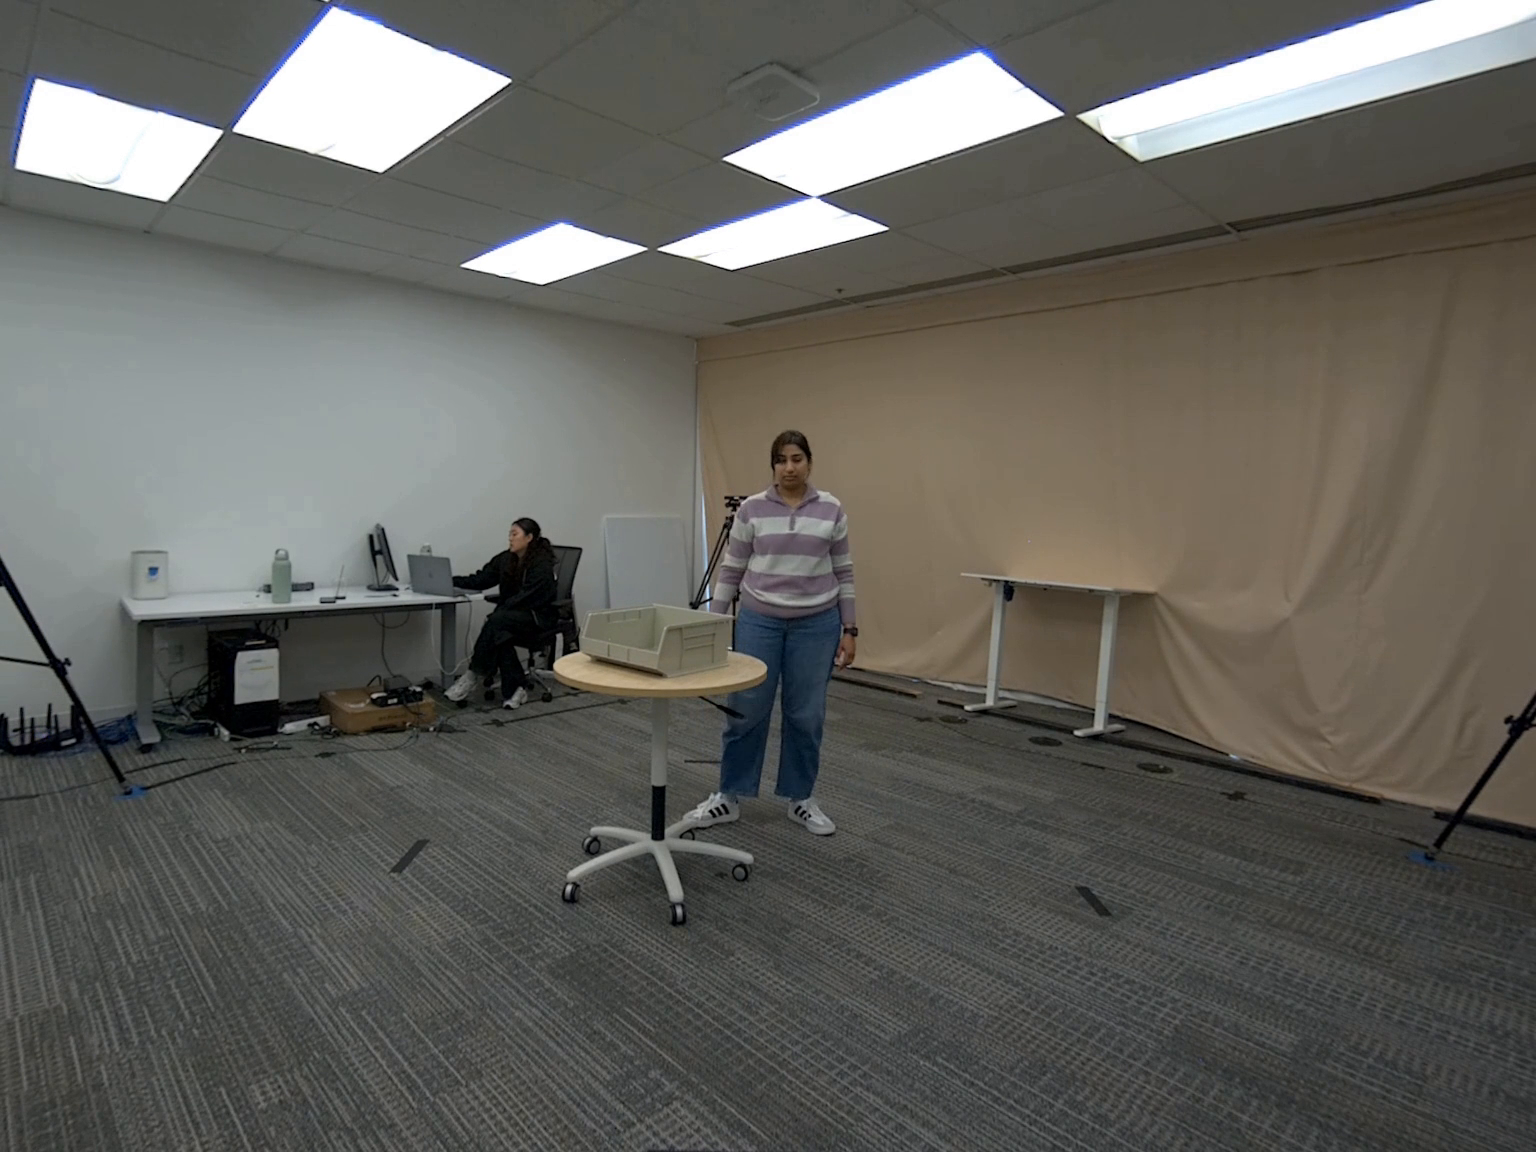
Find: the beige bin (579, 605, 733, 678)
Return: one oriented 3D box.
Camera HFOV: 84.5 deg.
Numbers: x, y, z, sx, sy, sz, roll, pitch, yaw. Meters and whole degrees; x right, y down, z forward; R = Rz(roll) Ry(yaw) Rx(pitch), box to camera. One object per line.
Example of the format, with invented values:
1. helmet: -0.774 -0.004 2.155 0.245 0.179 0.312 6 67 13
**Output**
1. beige bin: -0.404 0.227 3.057 0.433 0.188 0.369 5 5 39
